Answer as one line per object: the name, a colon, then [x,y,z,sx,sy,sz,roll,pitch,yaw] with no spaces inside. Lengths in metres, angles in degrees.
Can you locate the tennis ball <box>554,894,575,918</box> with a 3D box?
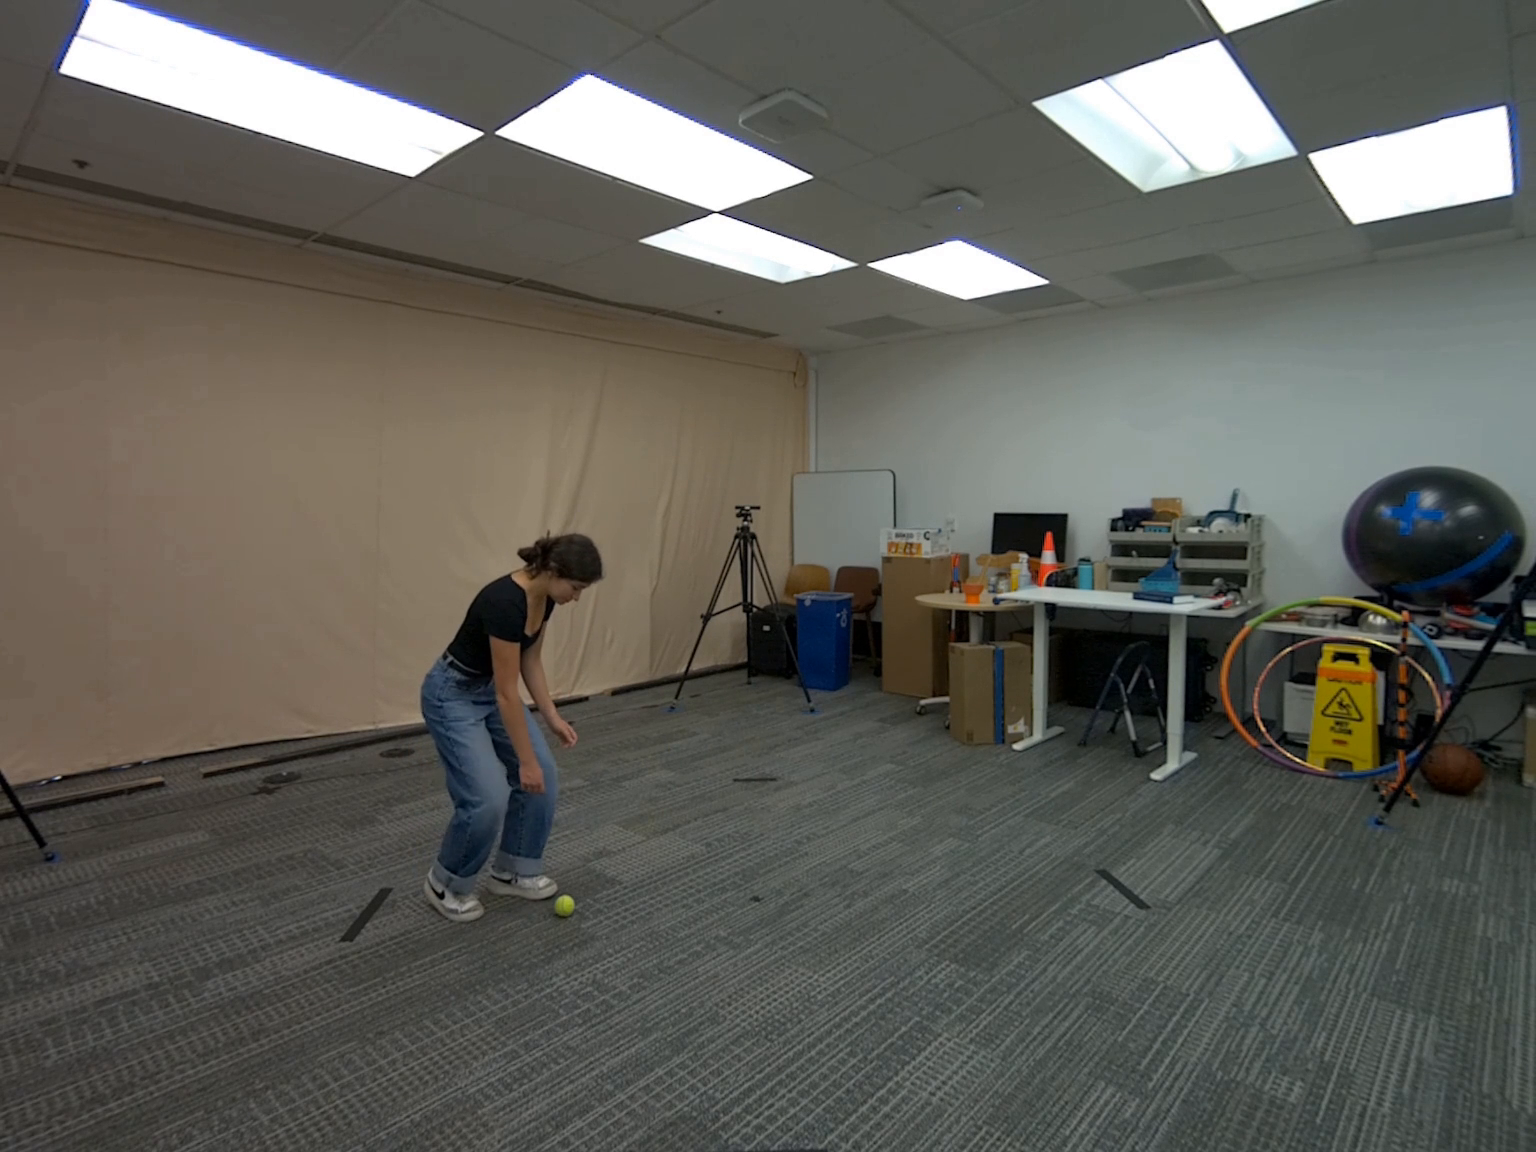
tennis ball: [-0.691,1.111,2.859,0.066,0.066,0.067,0,4,-2]
